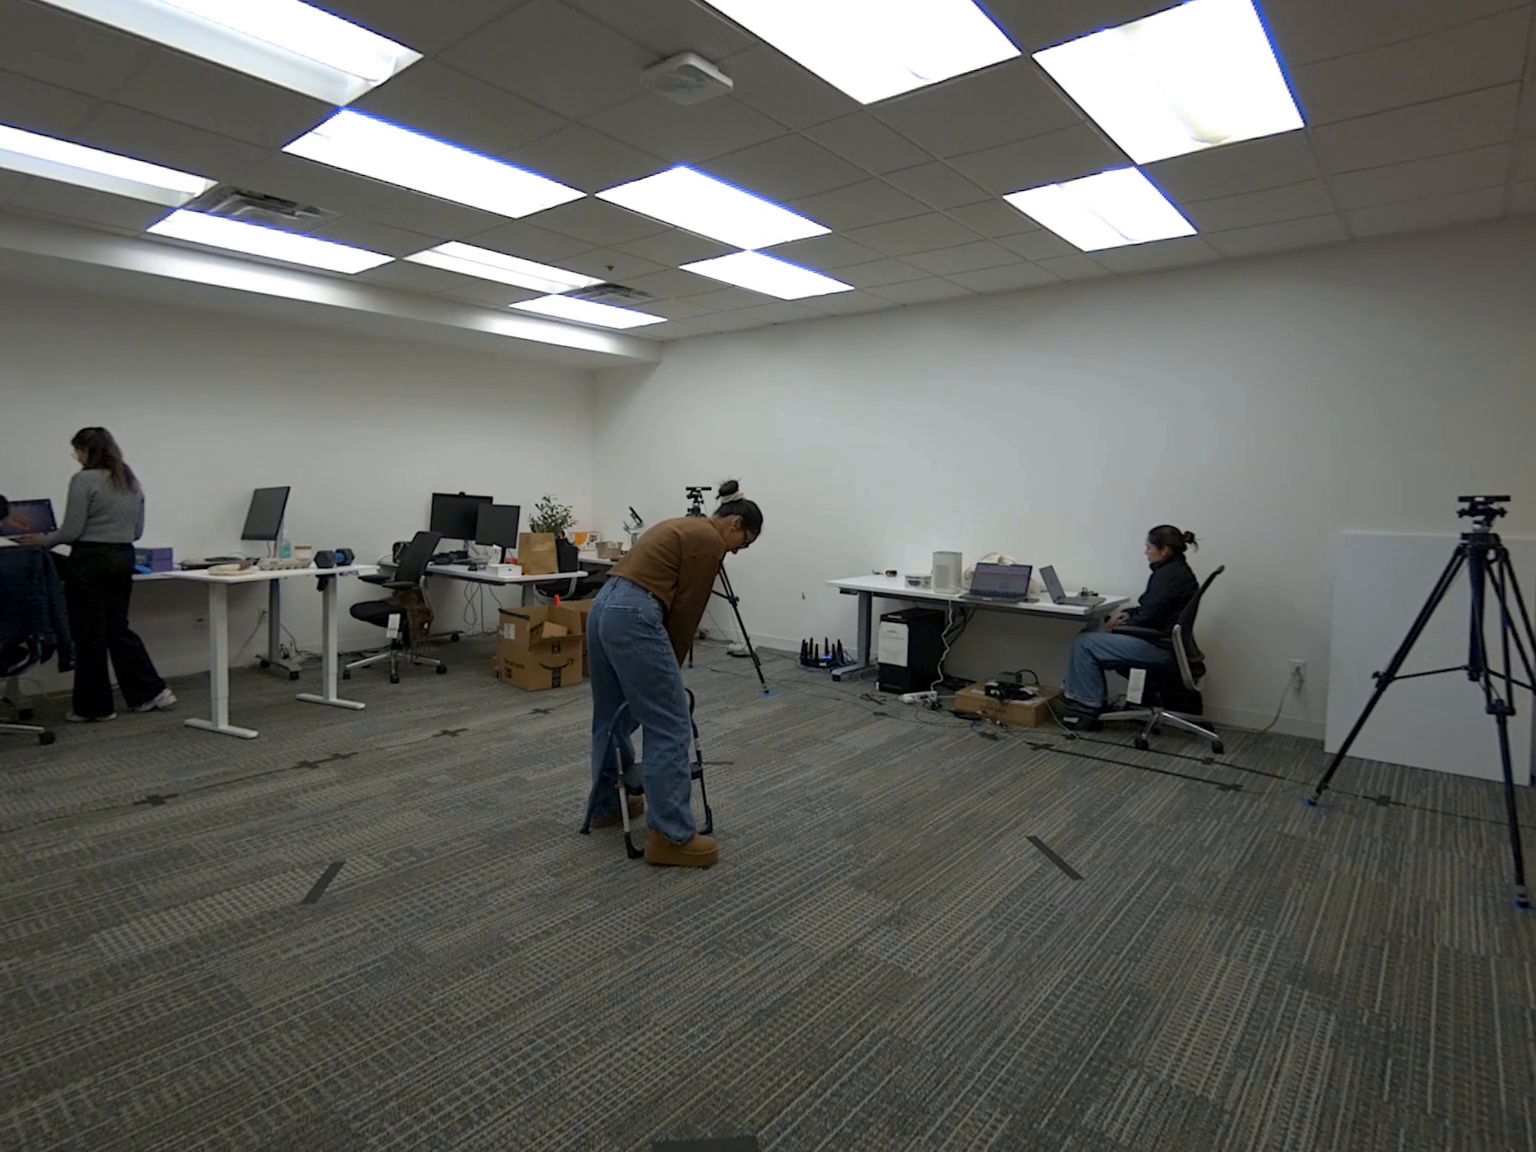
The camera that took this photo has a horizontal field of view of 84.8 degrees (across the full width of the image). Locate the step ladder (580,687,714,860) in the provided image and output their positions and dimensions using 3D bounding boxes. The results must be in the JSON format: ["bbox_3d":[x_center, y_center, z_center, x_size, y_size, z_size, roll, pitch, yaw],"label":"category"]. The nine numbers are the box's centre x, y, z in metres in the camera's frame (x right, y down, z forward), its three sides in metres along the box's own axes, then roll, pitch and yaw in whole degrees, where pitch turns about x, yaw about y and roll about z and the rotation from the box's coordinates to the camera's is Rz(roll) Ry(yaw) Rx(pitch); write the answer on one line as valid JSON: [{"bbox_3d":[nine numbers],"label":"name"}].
[{"bbox_3d":[-0.489,0.732,3.416,0.417,0.604,0.361,-3,5,-44],"label":"step ladder"}]
